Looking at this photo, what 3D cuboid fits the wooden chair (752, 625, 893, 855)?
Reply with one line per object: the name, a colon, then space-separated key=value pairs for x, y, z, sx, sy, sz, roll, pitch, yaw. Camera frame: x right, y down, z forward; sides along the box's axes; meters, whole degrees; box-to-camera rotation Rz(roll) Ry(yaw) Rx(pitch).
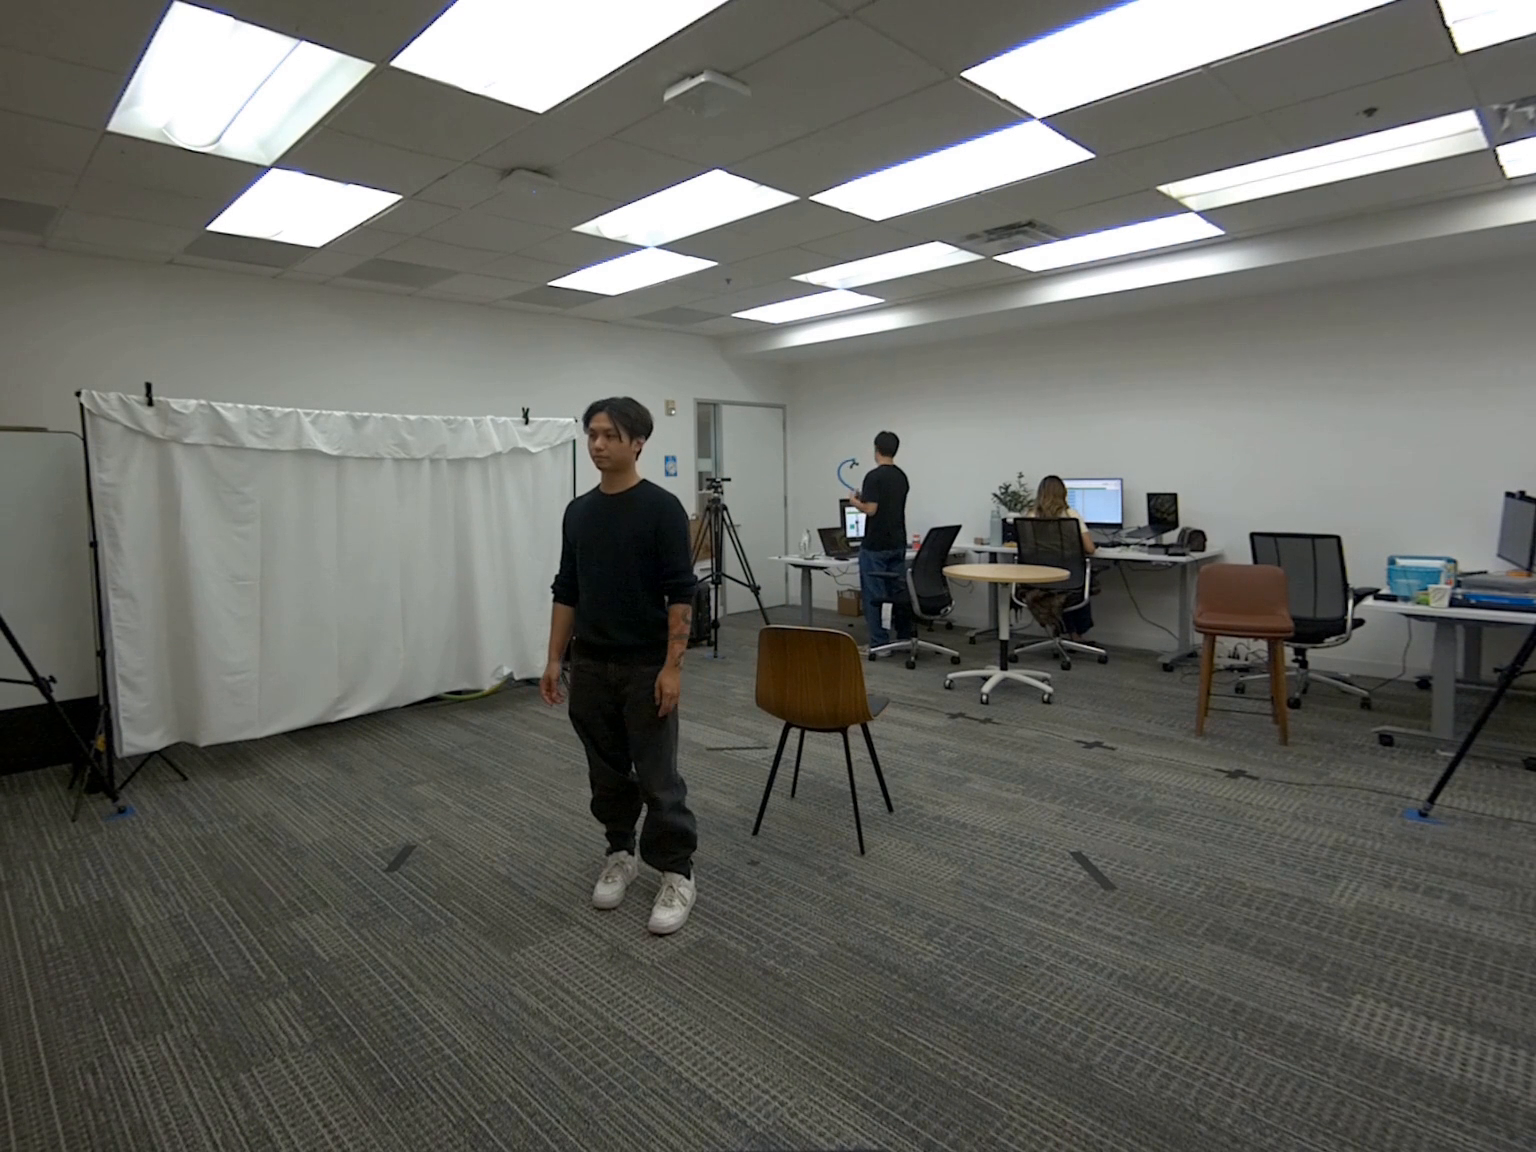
wooden chair: x=0.224 y=0.573 z=3.427 sx=0.489 sy=0.871 sz=0.515 roll=1 pitch=9 yaw=24
